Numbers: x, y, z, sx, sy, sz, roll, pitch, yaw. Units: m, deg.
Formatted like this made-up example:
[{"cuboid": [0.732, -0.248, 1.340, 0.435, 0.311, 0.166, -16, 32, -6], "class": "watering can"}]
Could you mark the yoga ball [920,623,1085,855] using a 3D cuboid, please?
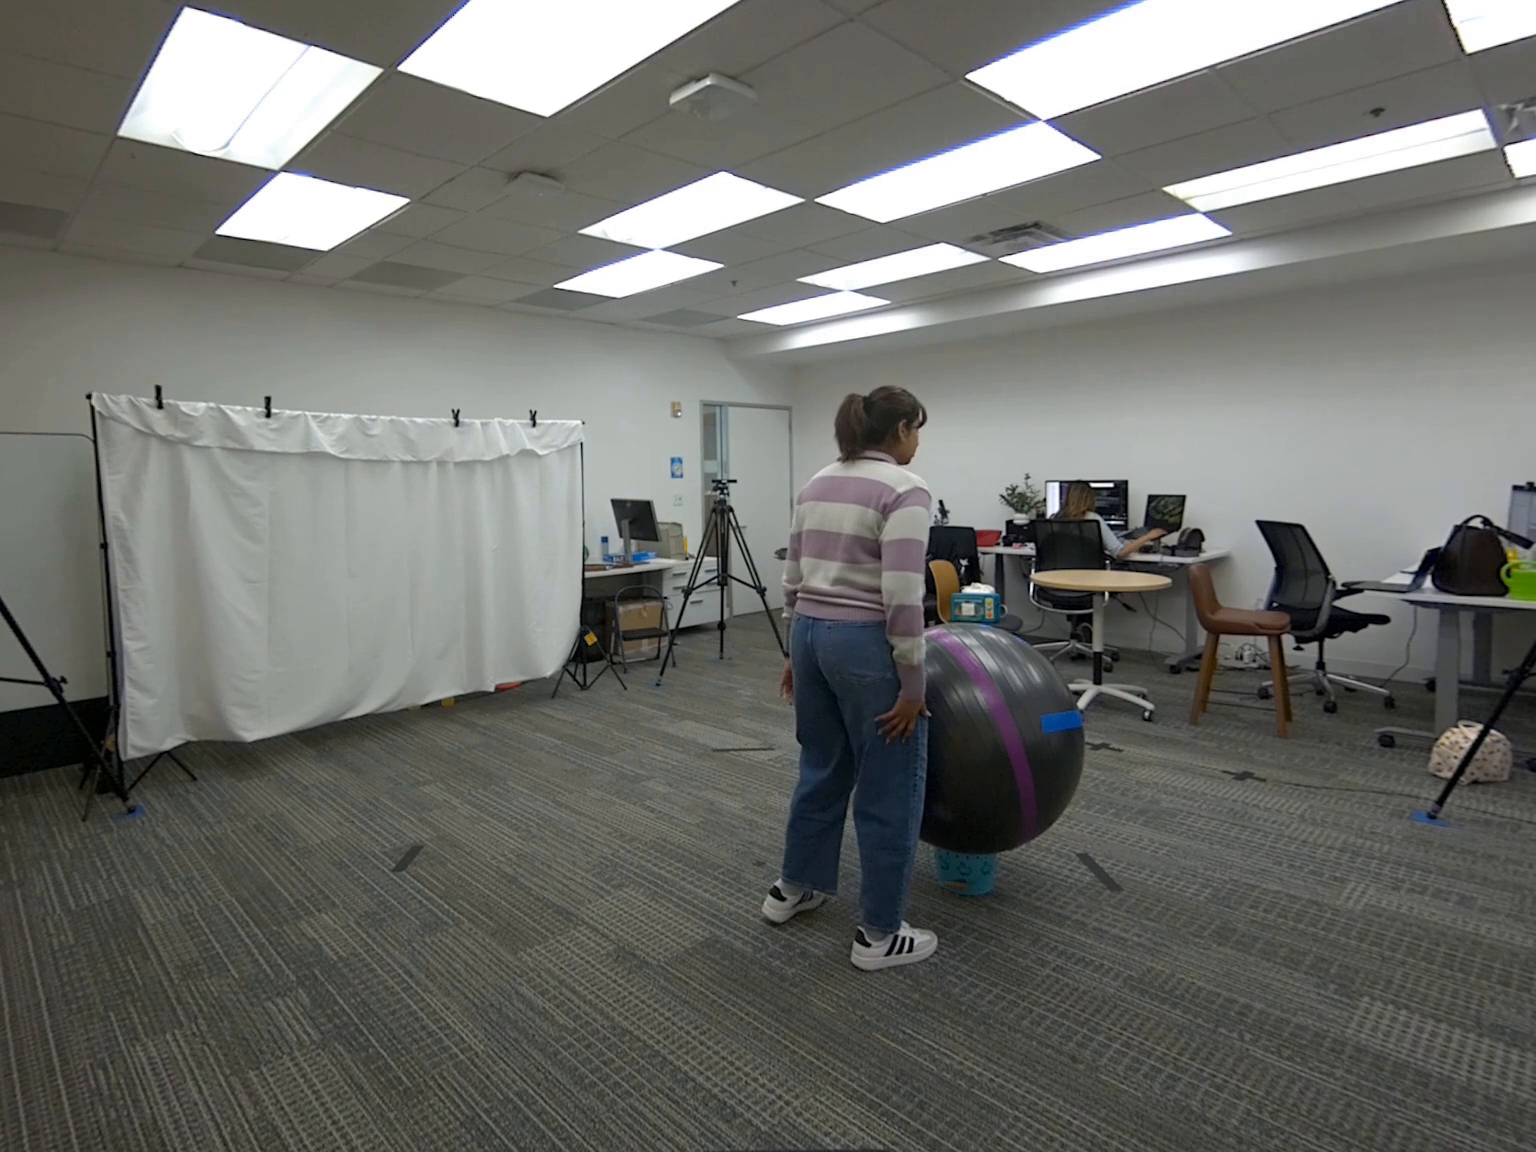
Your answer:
[{"cuboid": [0.679, 0.551, 2.912, 0.757, 0.755, 0.762, -1, 5, -2], "class": "yoga ball"}]
